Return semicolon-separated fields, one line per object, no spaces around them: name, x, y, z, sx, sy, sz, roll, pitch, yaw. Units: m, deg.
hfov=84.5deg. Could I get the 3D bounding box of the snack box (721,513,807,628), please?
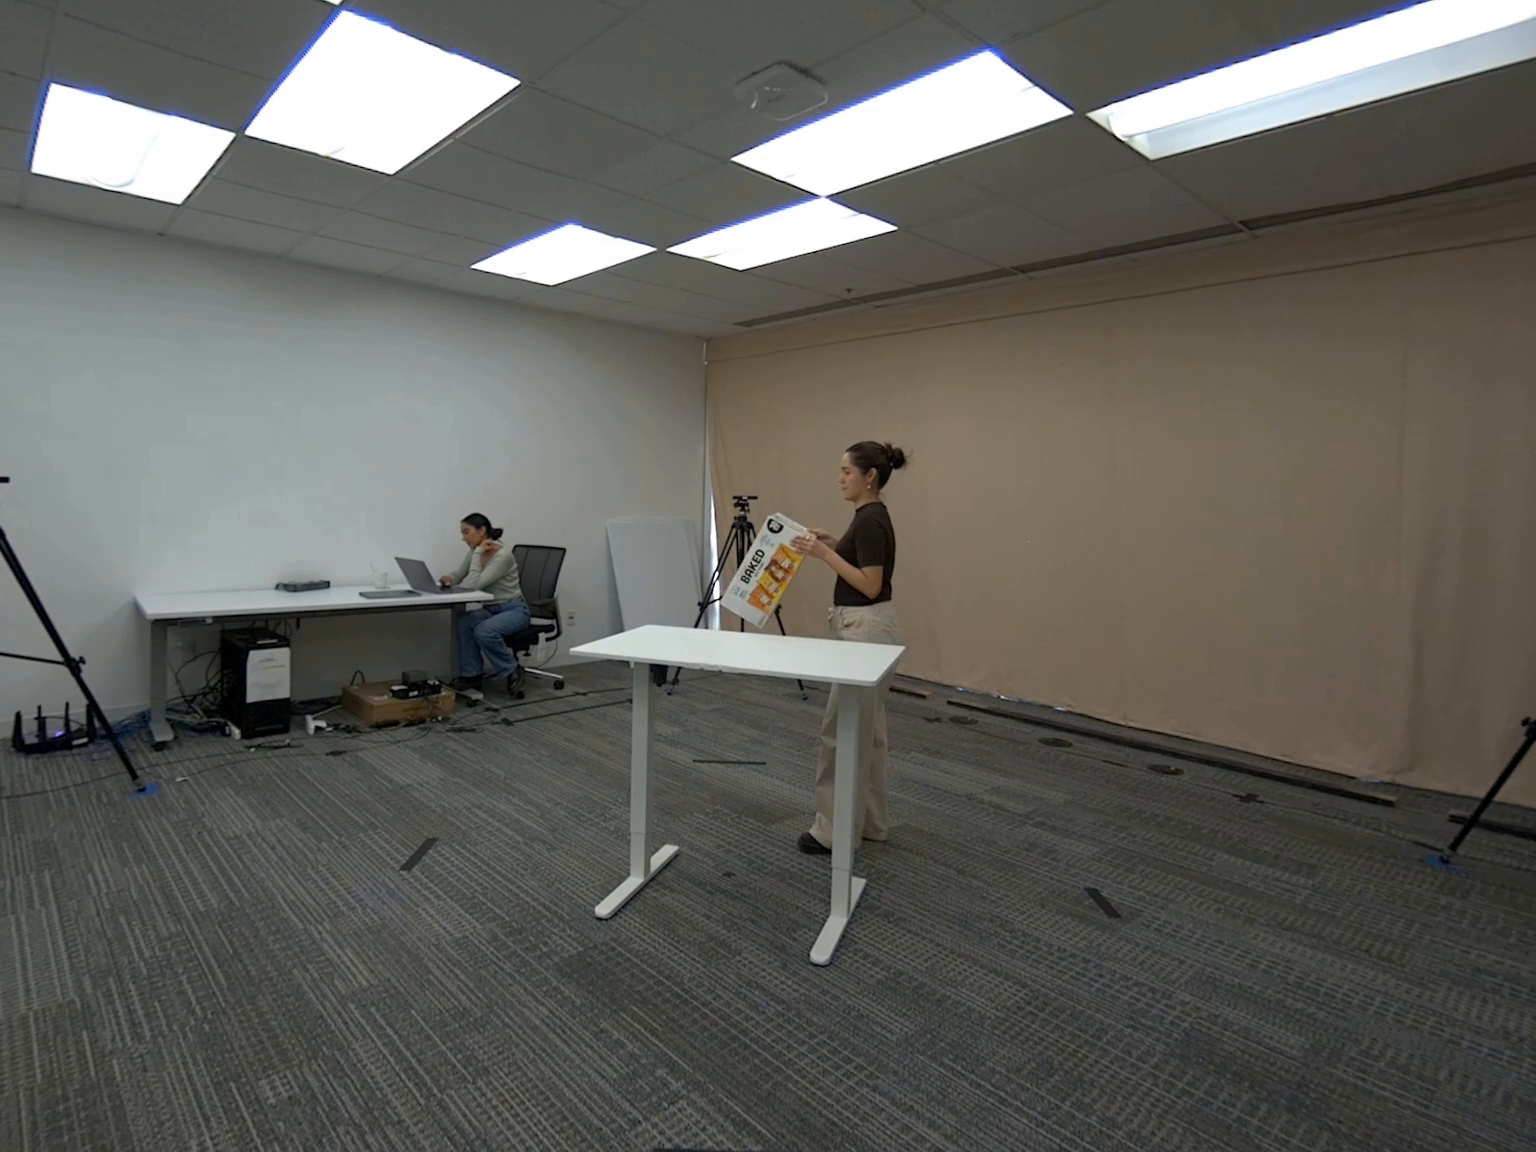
snack box;0.010;-0.028;3.488;0.207;0.404;0.339;30;9;4
